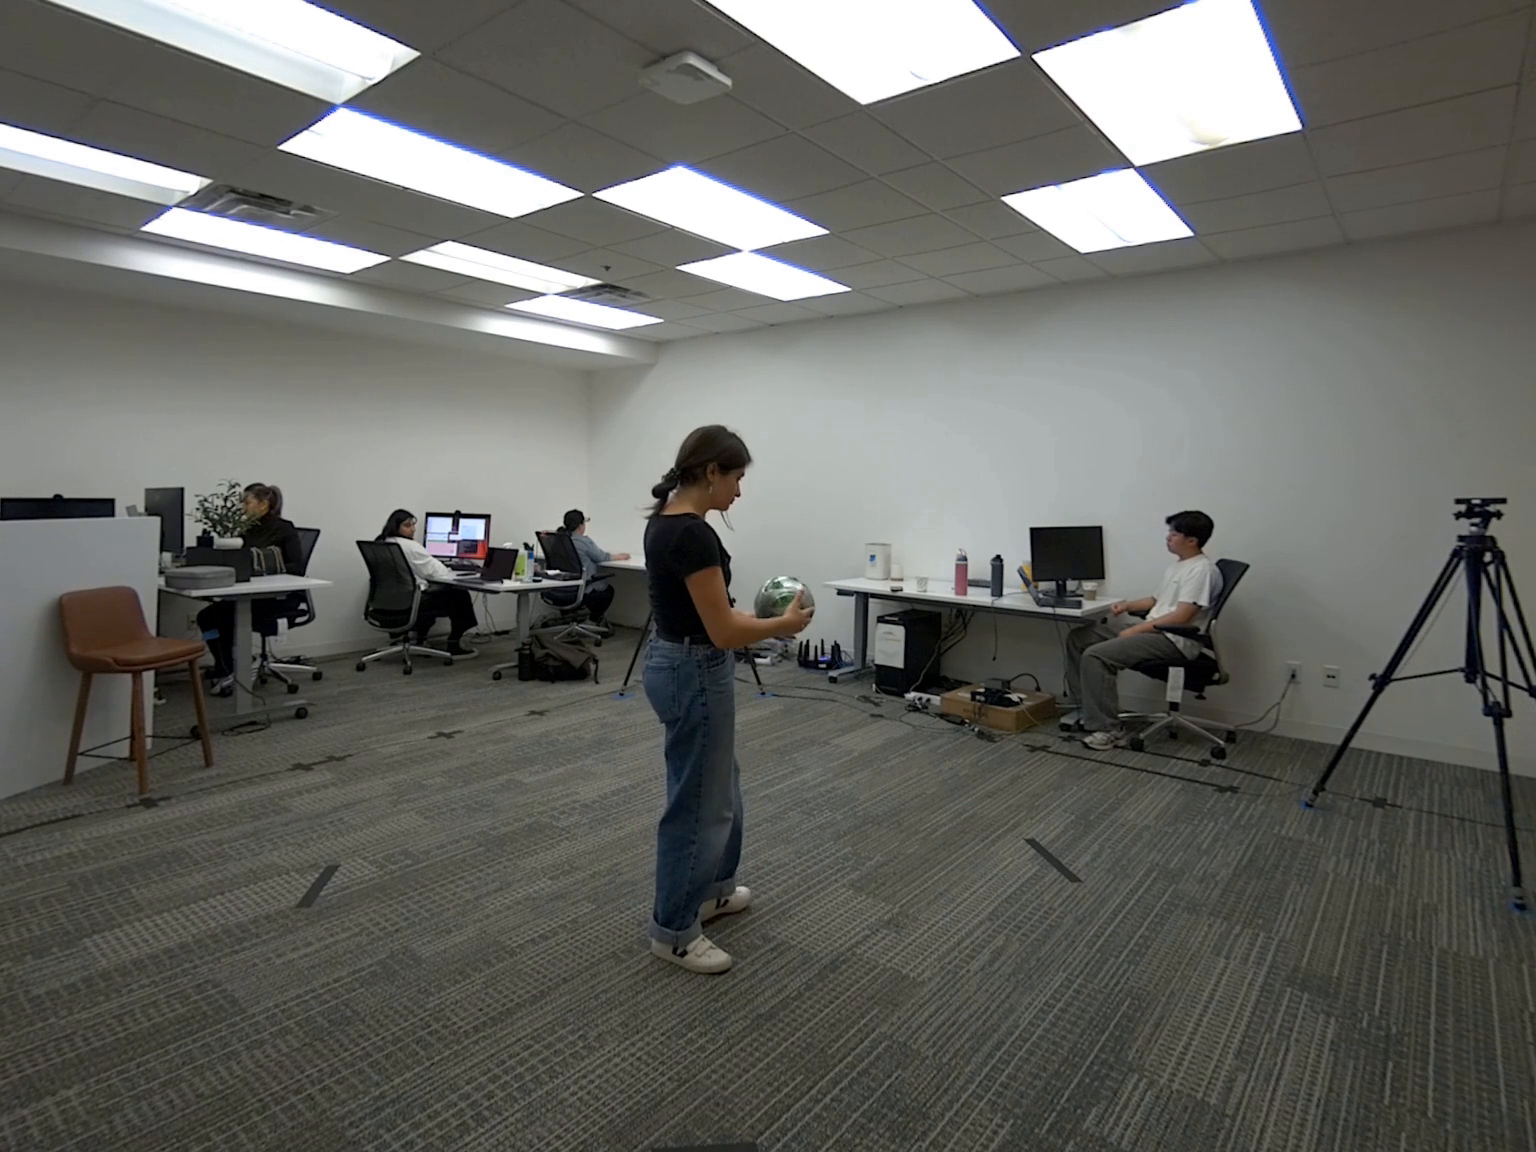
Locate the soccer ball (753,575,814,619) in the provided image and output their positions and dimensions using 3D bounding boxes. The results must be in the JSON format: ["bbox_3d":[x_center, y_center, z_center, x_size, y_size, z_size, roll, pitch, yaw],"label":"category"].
[{"bbox_3d":[0.060,0.120,2.495,0.187,0.187,0.188,1,4,-2],"label":"soccer ball"}]
